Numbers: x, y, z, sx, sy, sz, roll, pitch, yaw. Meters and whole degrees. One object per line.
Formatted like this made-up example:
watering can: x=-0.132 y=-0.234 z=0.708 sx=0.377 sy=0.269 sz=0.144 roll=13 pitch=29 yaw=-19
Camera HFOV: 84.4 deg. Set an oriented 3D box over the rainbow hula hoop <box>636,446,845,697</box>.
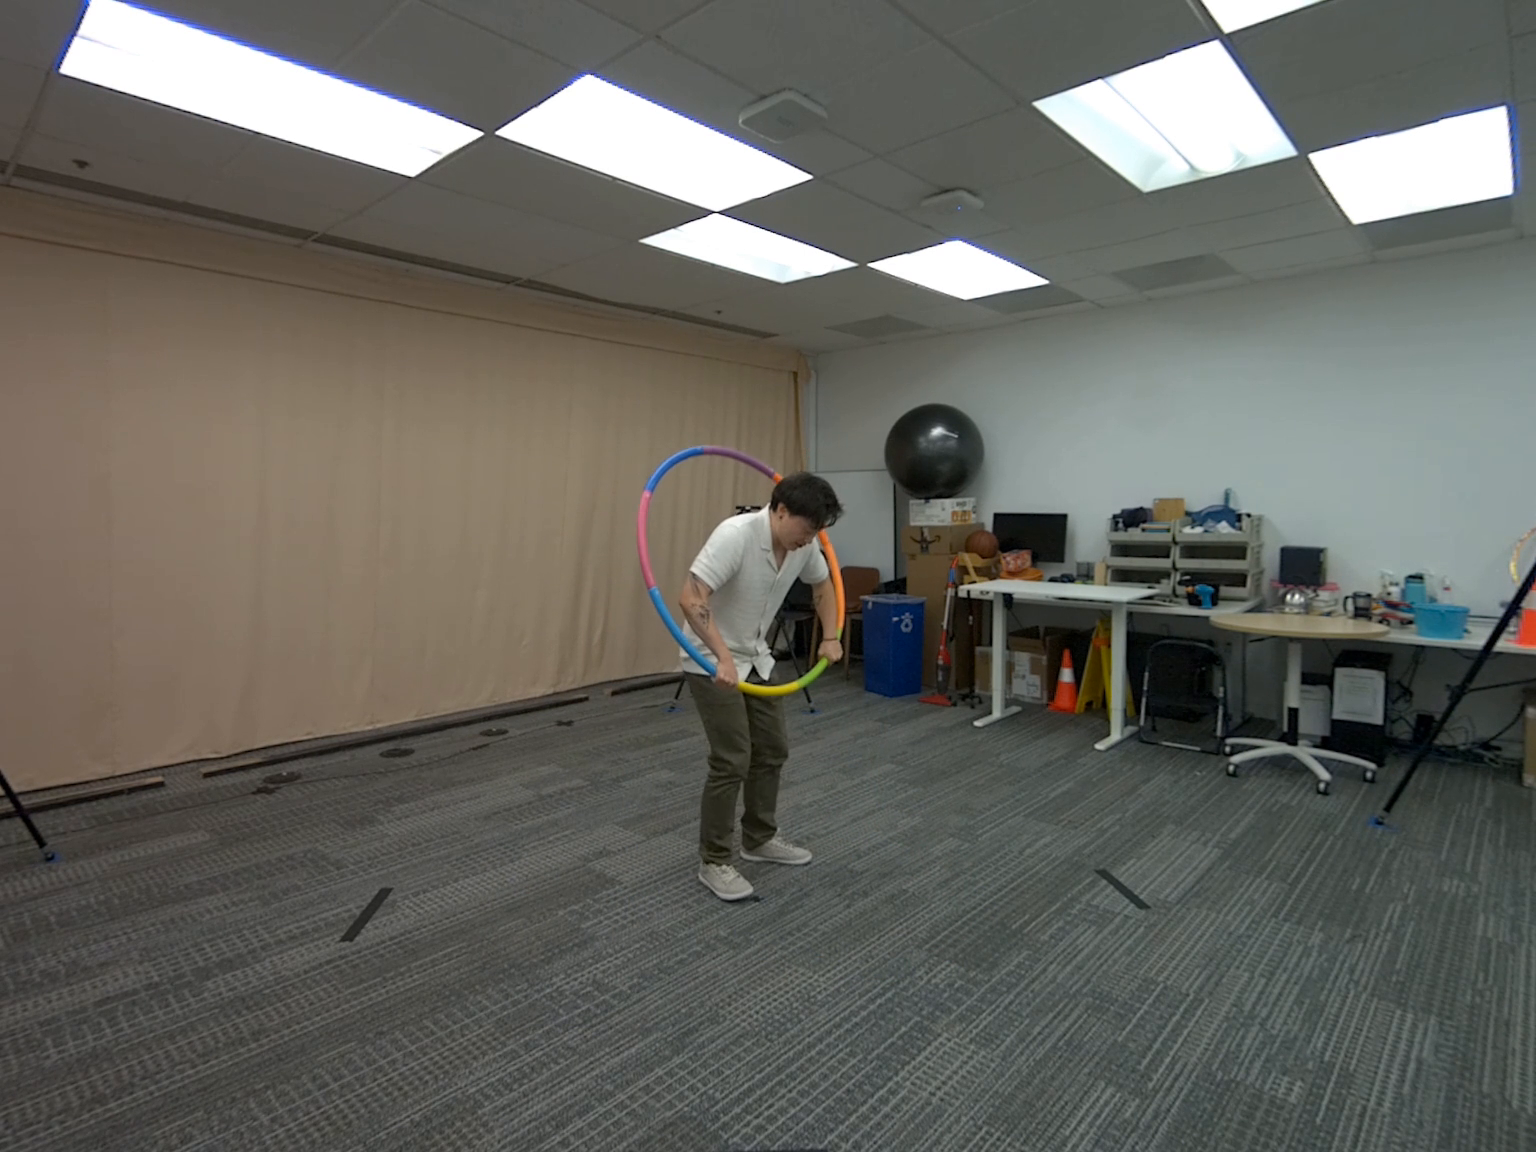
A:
rainbow hula hoop: x=-0.061 y=-0.027 z=3.128 sx=0.948 sy=0.992 sz=0.036 roll=-4 pitch=-20 yaw=-43
